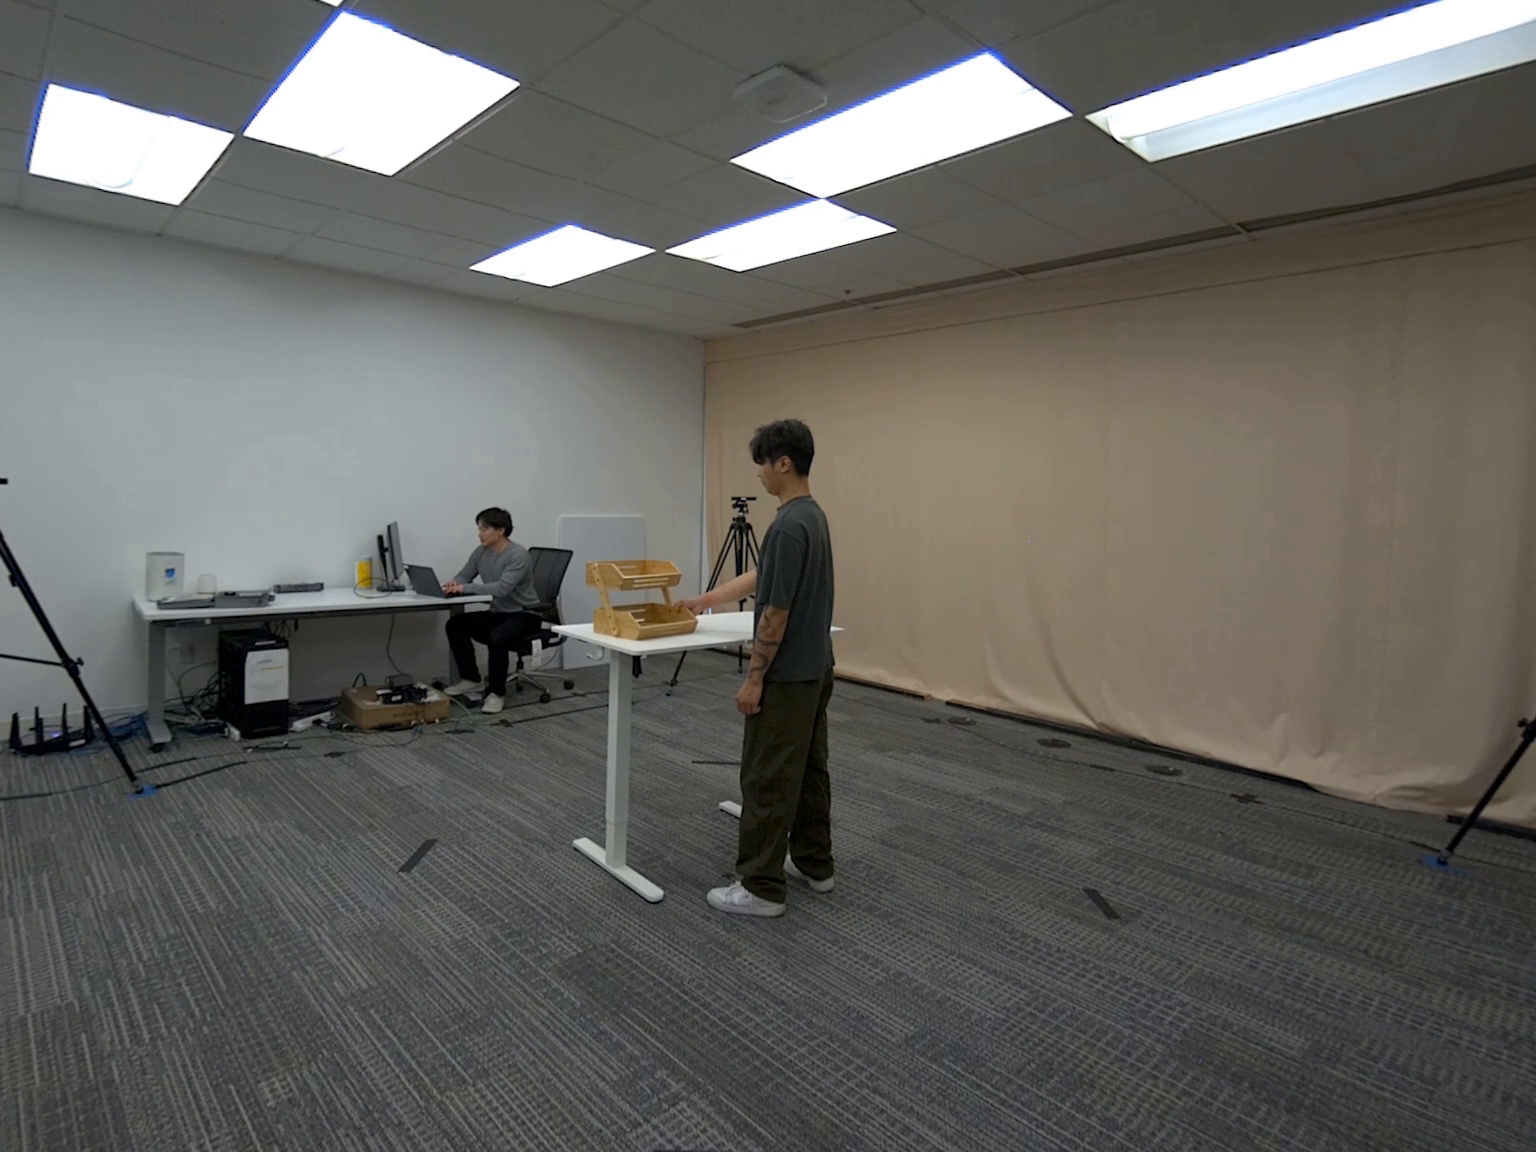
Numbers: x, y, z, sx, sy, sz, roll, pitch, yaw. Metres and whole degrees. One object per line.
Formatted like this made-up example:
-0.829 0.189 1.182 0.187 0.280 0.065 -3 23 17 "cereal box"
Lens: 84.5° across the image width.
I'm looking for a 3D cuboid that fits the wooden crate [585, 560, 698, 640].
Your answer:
-0.471 0.079 3.147 0.309 0.273 0.317 4 4 39 "wooden crate"
